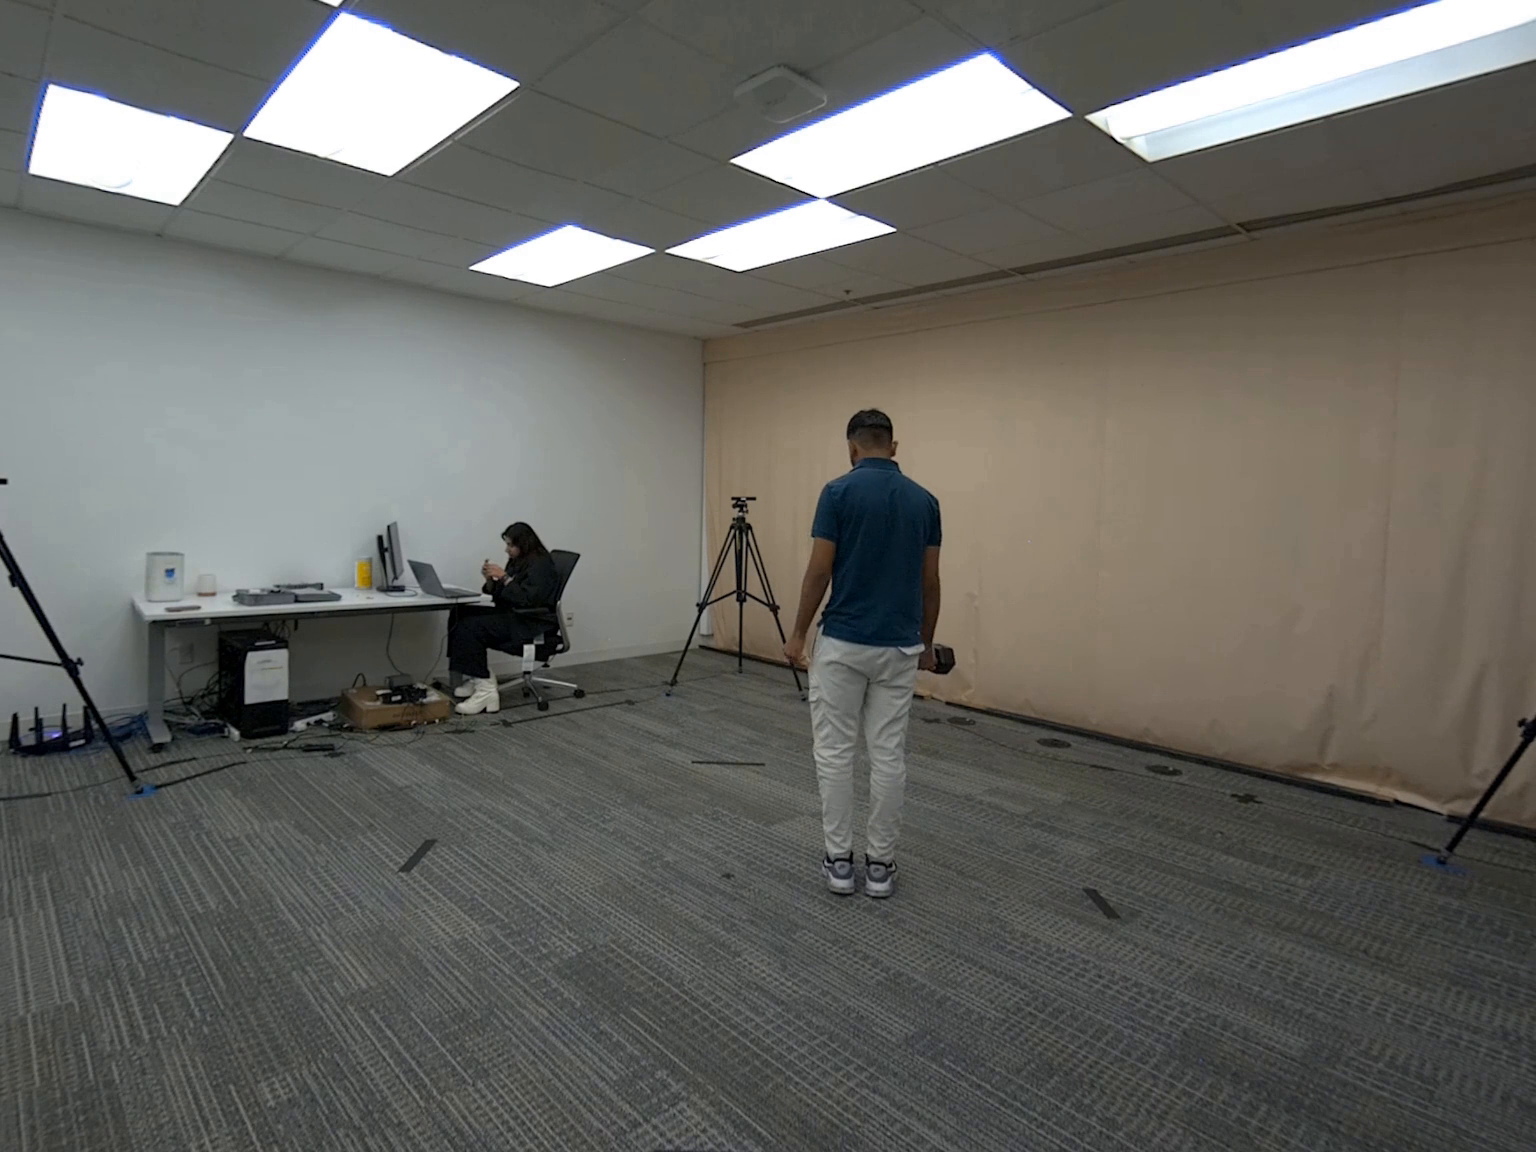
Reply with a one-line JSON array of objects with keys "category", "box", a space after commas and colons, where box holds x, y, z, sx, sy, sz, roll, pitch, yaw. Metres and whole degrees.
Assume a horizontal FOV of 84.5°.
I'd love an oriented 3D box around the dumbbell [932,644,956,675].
[{"category": "dumbbell", "box": [0.575, 0.316, 3.219, 0.287, 0.108, 0.126, 4, 9, -33]}]
